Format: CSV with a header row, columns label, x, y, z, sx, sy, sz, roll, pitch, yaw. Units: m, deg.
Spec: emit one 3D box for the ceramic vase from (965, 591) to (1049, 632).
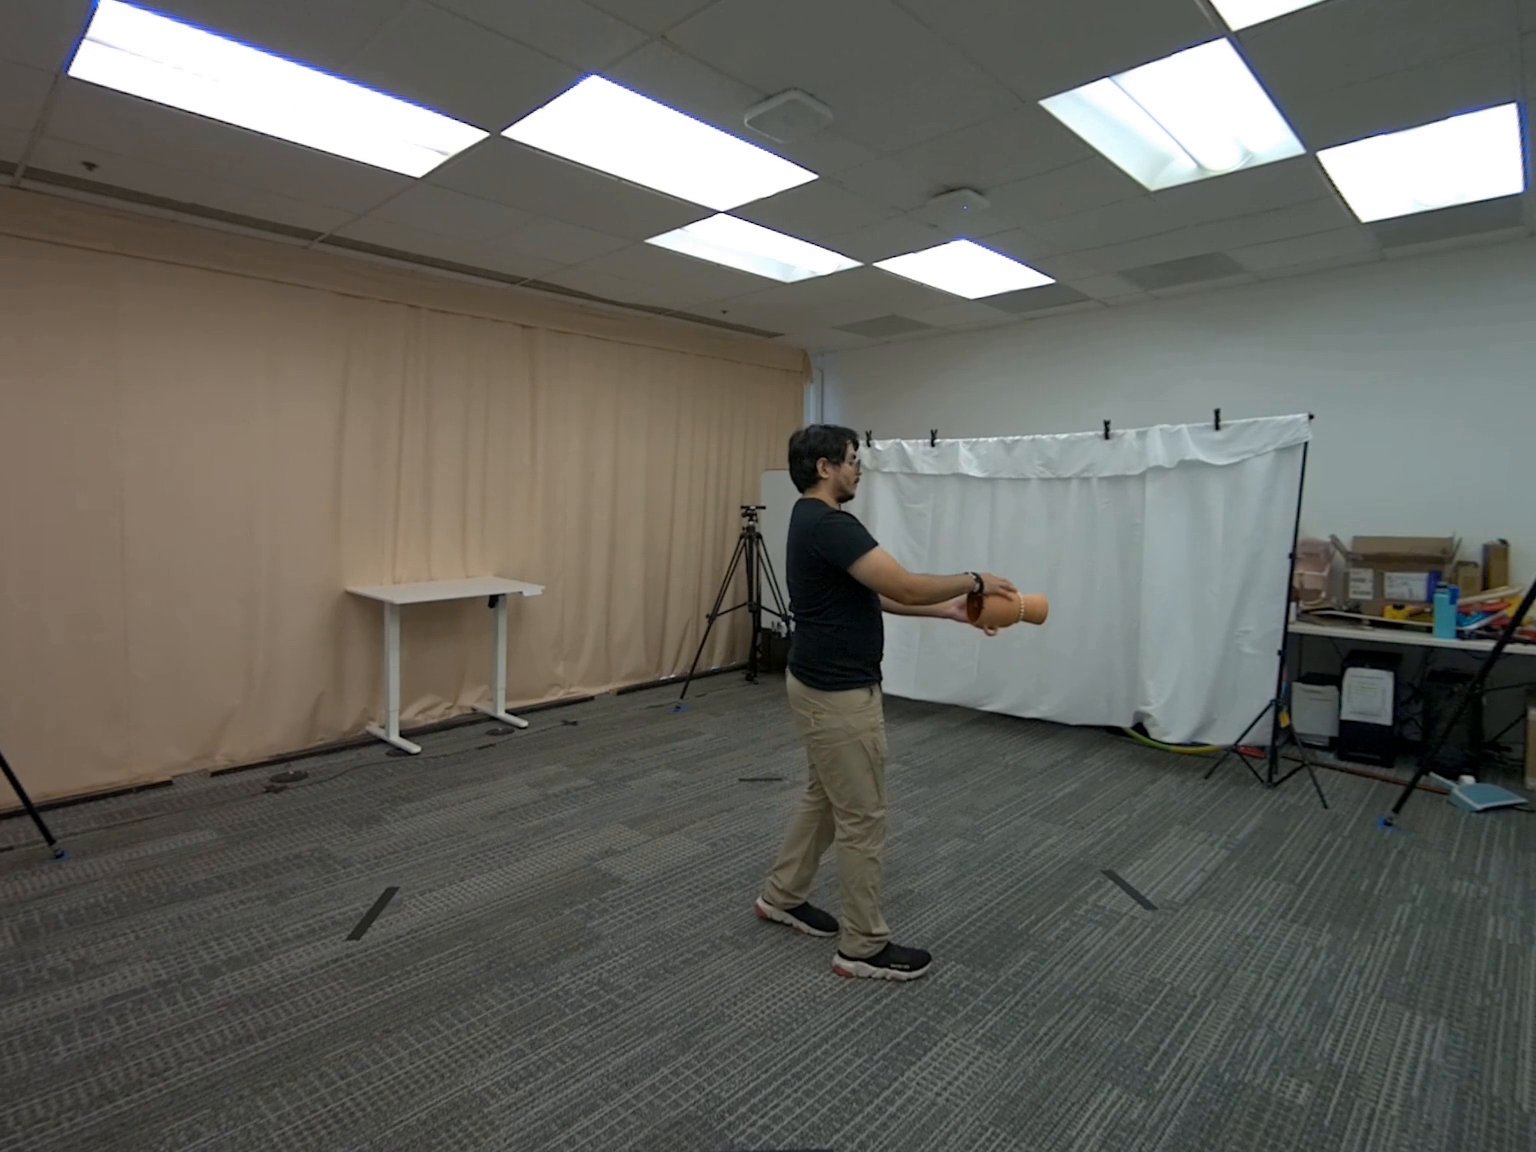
label,x,y,z,sx,sy,sz,roll,pitch,yaw
ceramic vase,0.757,0.095,2.616,0.218,0.157,0.137,5,23,-6
